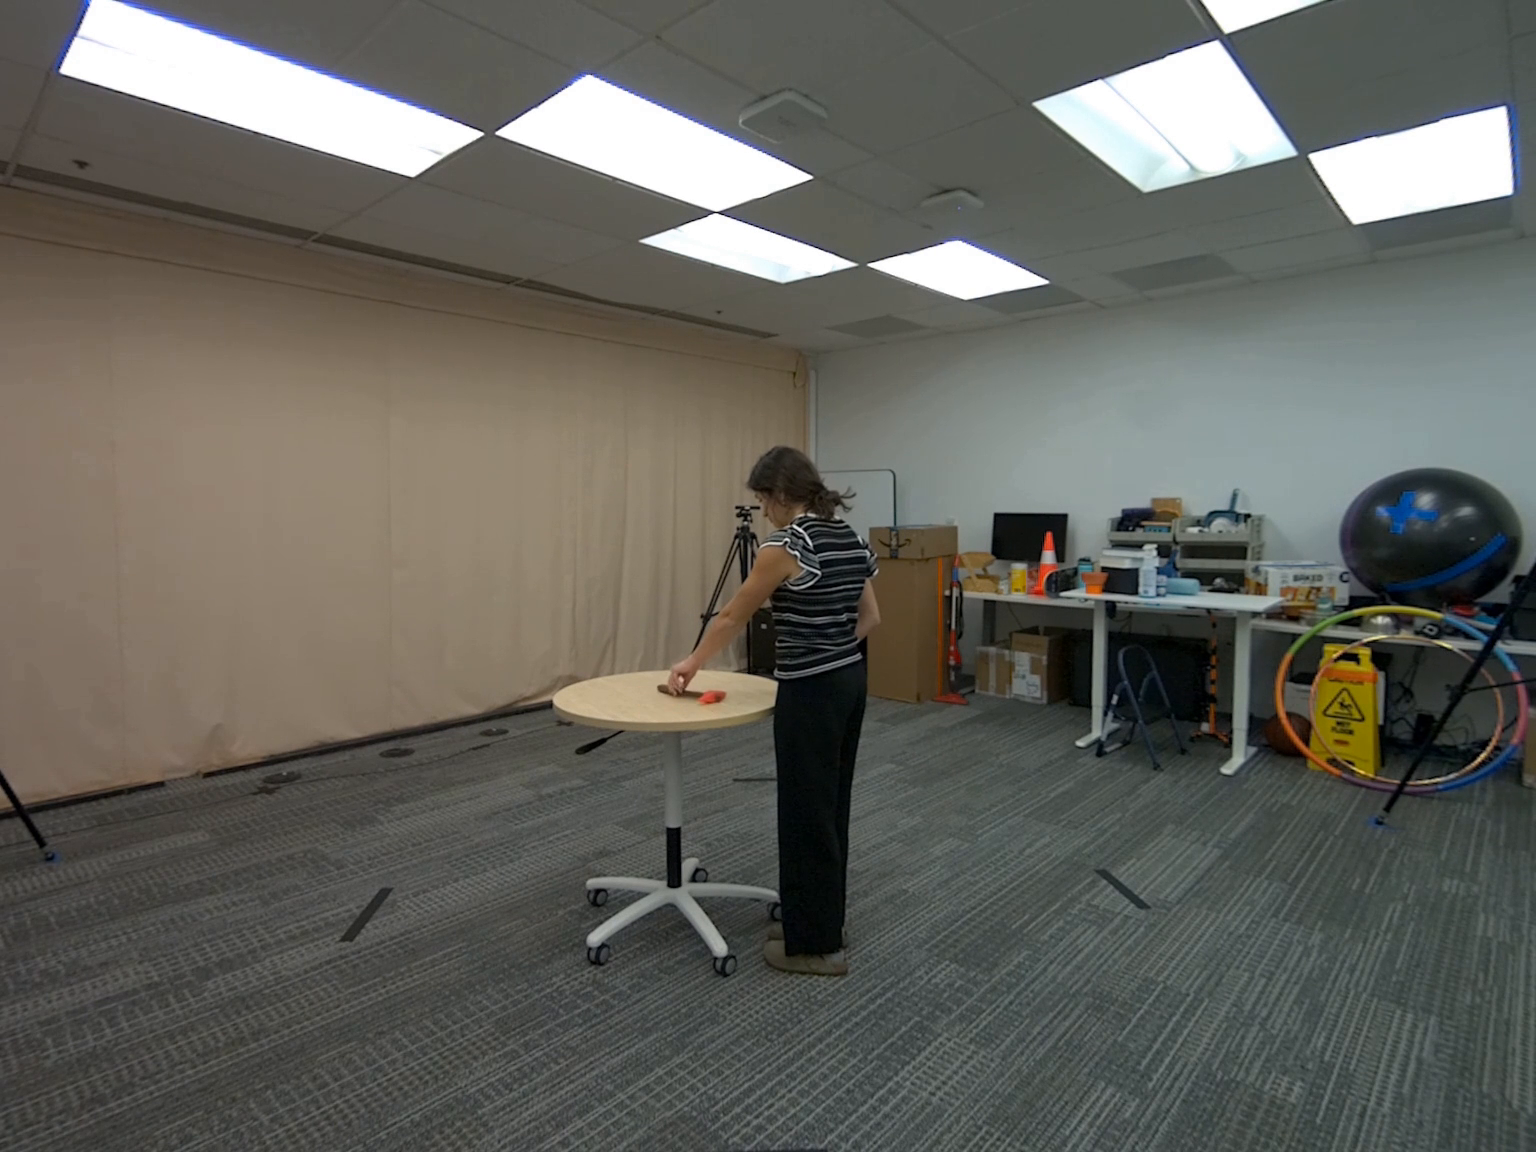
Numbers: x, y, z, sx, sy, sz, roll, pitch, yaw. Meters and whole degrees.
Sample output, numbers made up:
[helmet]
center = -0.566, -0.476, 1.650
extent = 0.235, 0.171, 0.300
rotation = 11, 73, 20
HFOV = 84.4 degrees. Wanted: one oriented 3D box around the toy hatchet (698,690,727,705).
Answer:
[toy hatchet]
center = -0.239, 0.376, 2.700
extent = 0.127, 0.029, 0.278
rotation = -5, 4, -36
